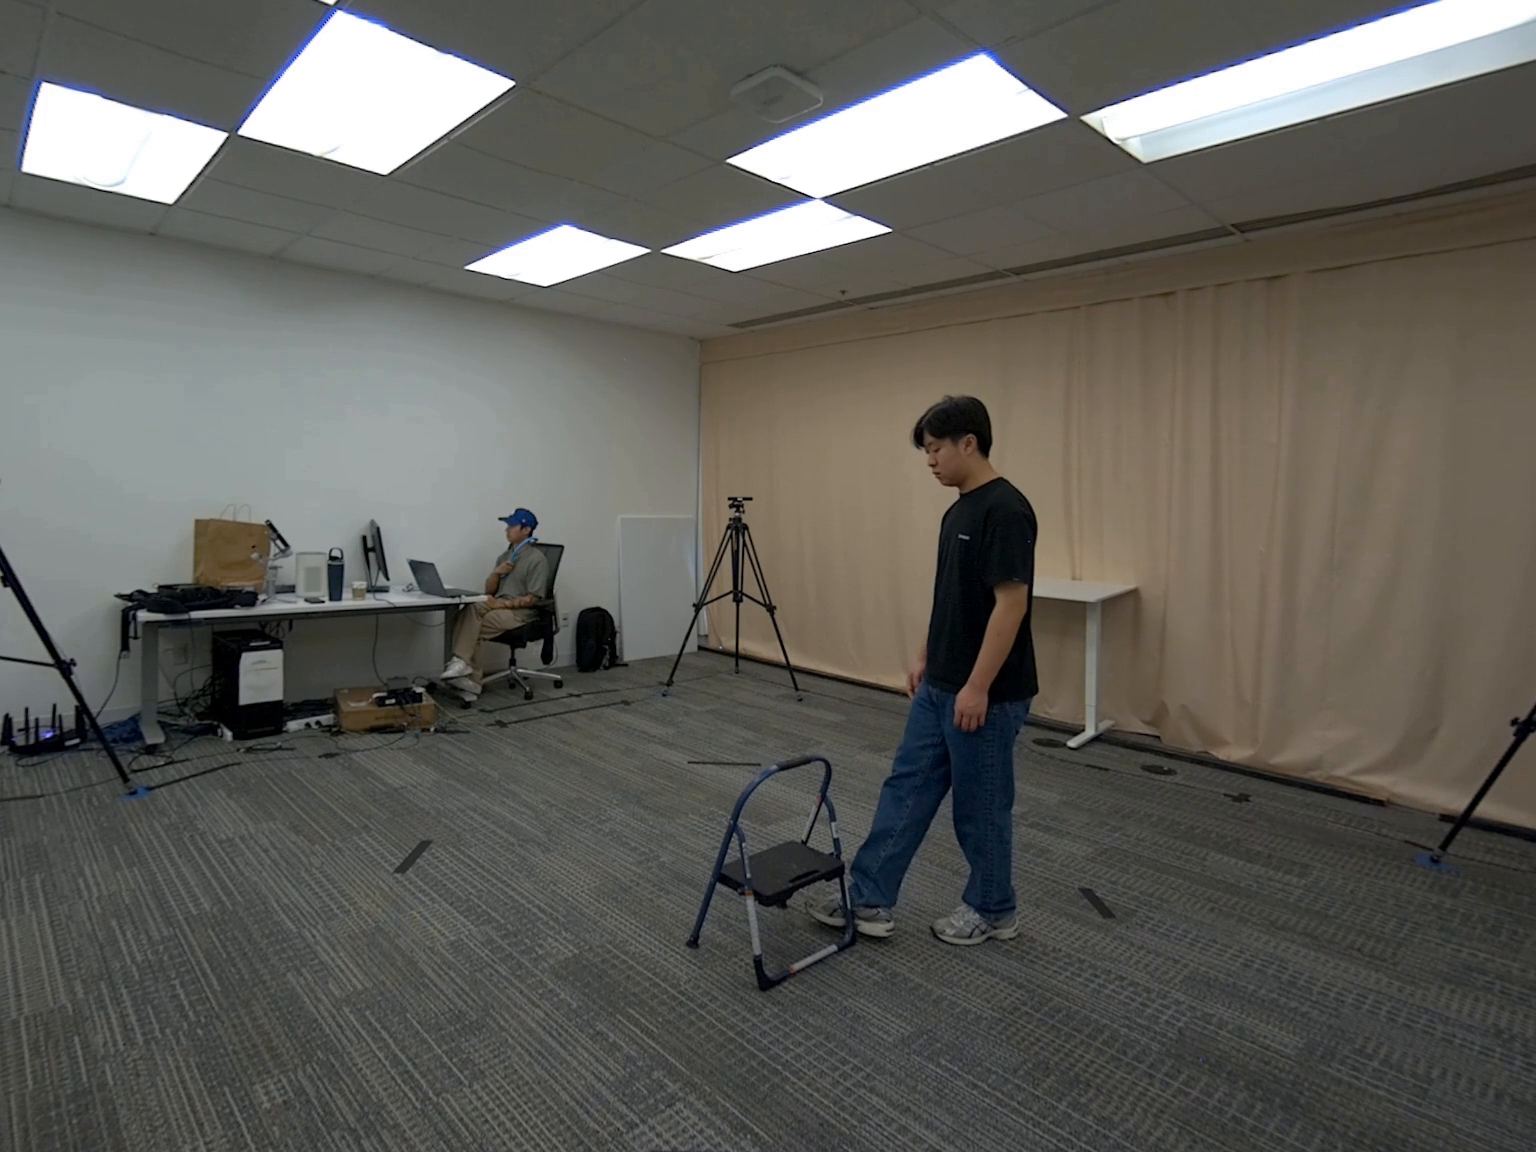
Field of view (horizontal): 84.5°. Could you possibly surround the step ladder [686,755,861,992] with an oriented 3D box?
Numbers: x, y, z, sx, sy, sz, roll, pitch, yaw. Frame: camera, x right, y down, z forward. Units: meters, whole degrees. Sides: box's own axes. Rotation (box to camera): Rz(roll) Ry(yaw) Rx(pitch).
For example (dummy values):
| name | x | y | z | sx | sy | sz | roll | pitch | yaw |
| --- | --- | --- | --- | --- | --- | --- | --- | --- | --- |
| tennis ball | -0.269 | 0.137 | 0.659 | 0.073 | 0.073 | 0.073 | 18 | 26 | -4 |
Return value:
| name | x | y | z | sx | sy | sz | roll | pitch | yaw |
| --- | --- | --- | --- | --- | --- | --- | --- | --- | --- |
| step ladder | 0.021 | 0.844 | 2.620 | 0.421 | 0.604 | 0.358 | -2 | 6 | -44 |
